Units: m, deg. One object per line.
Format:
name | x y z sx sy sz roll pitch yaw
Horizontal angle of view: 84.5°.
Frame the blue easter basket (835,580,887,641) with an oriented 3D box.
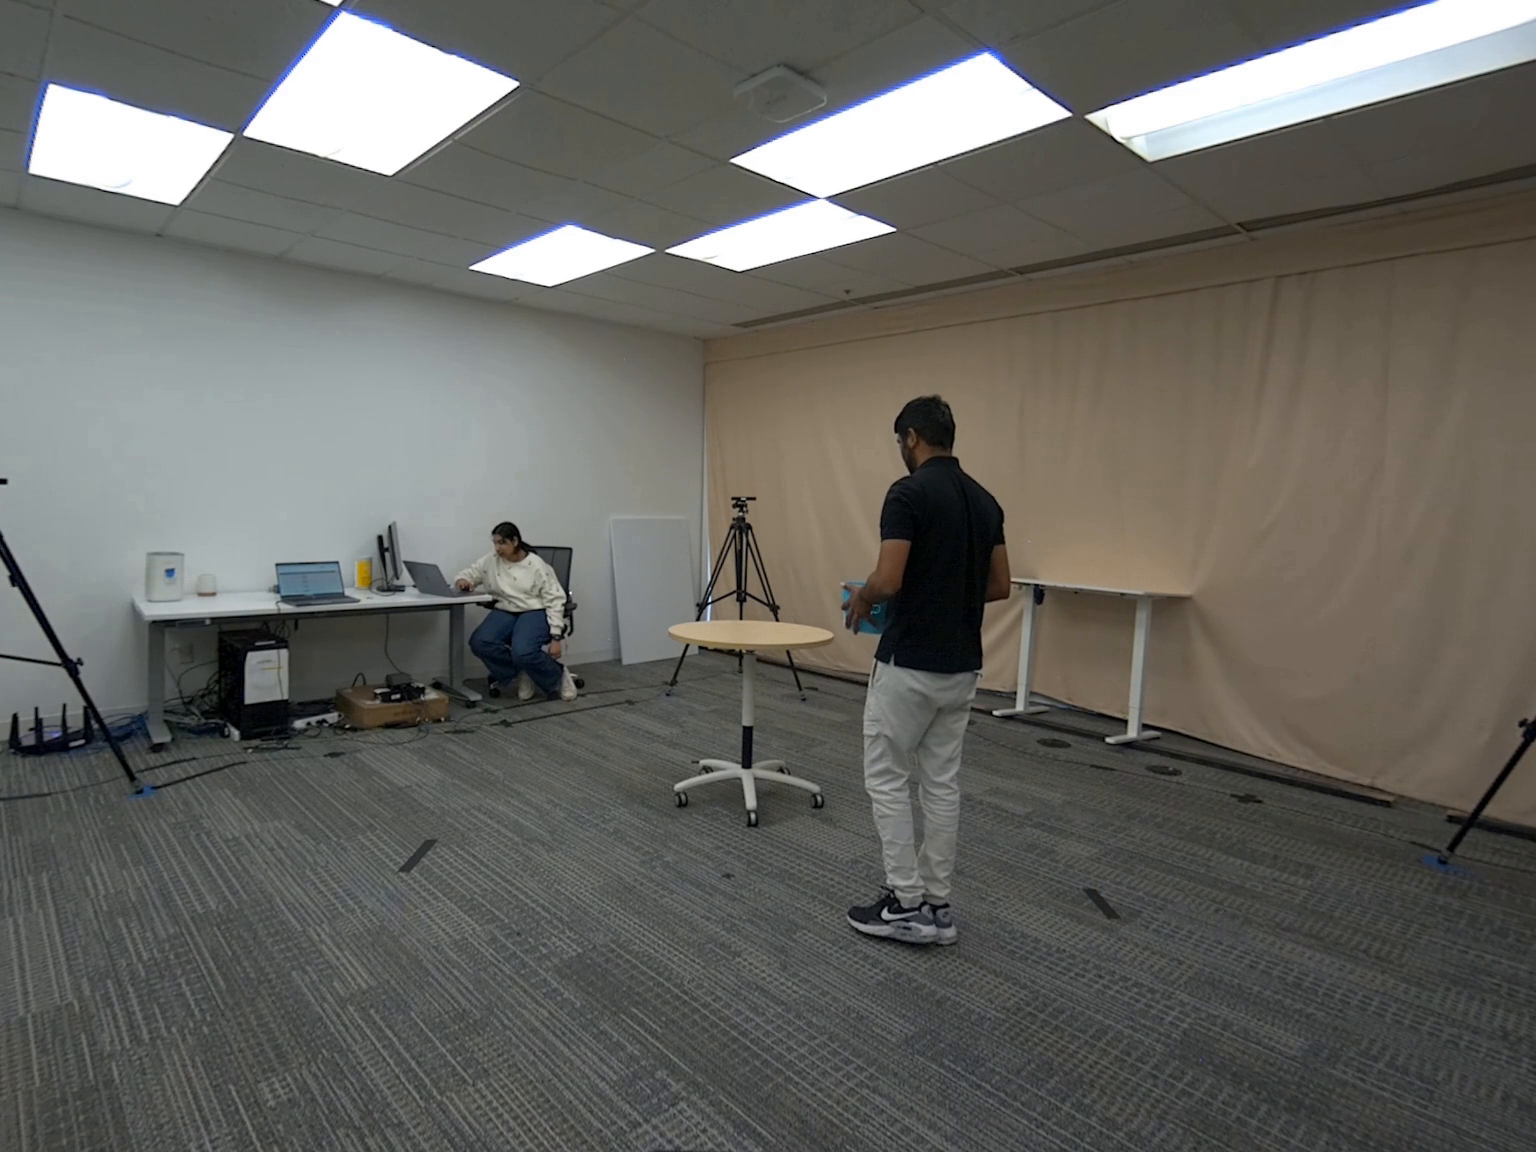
blue easter basket | 0.380 0.122 2.948 0.243 0.155 0.245 6 6 -2
